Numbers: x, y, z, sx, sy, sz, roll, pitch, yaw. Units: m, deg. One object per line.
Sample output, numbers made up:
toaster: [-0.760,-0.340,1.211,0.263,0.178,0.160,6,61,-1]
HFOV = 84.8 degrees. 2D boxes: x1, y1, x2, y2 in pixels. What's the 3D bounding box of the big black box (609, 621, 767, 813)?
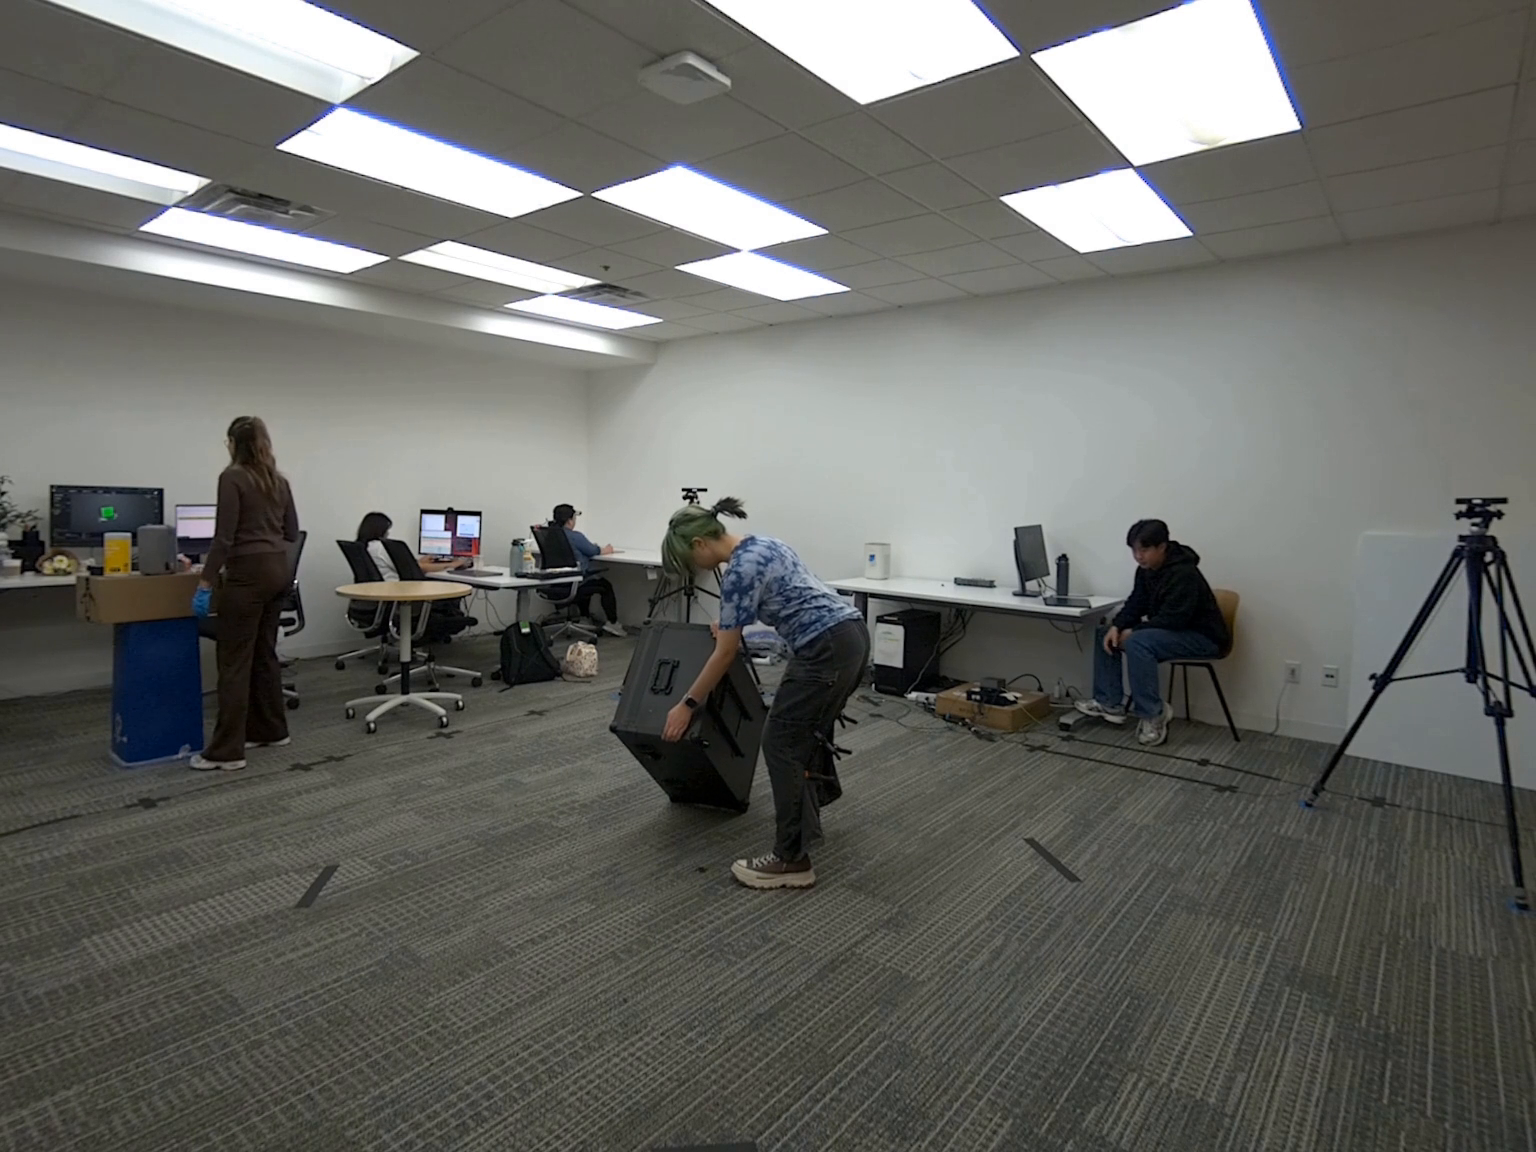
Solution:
big black box: [-0.294,0.611,3.588,0.404,0.530,0.829,3,-34,18]
